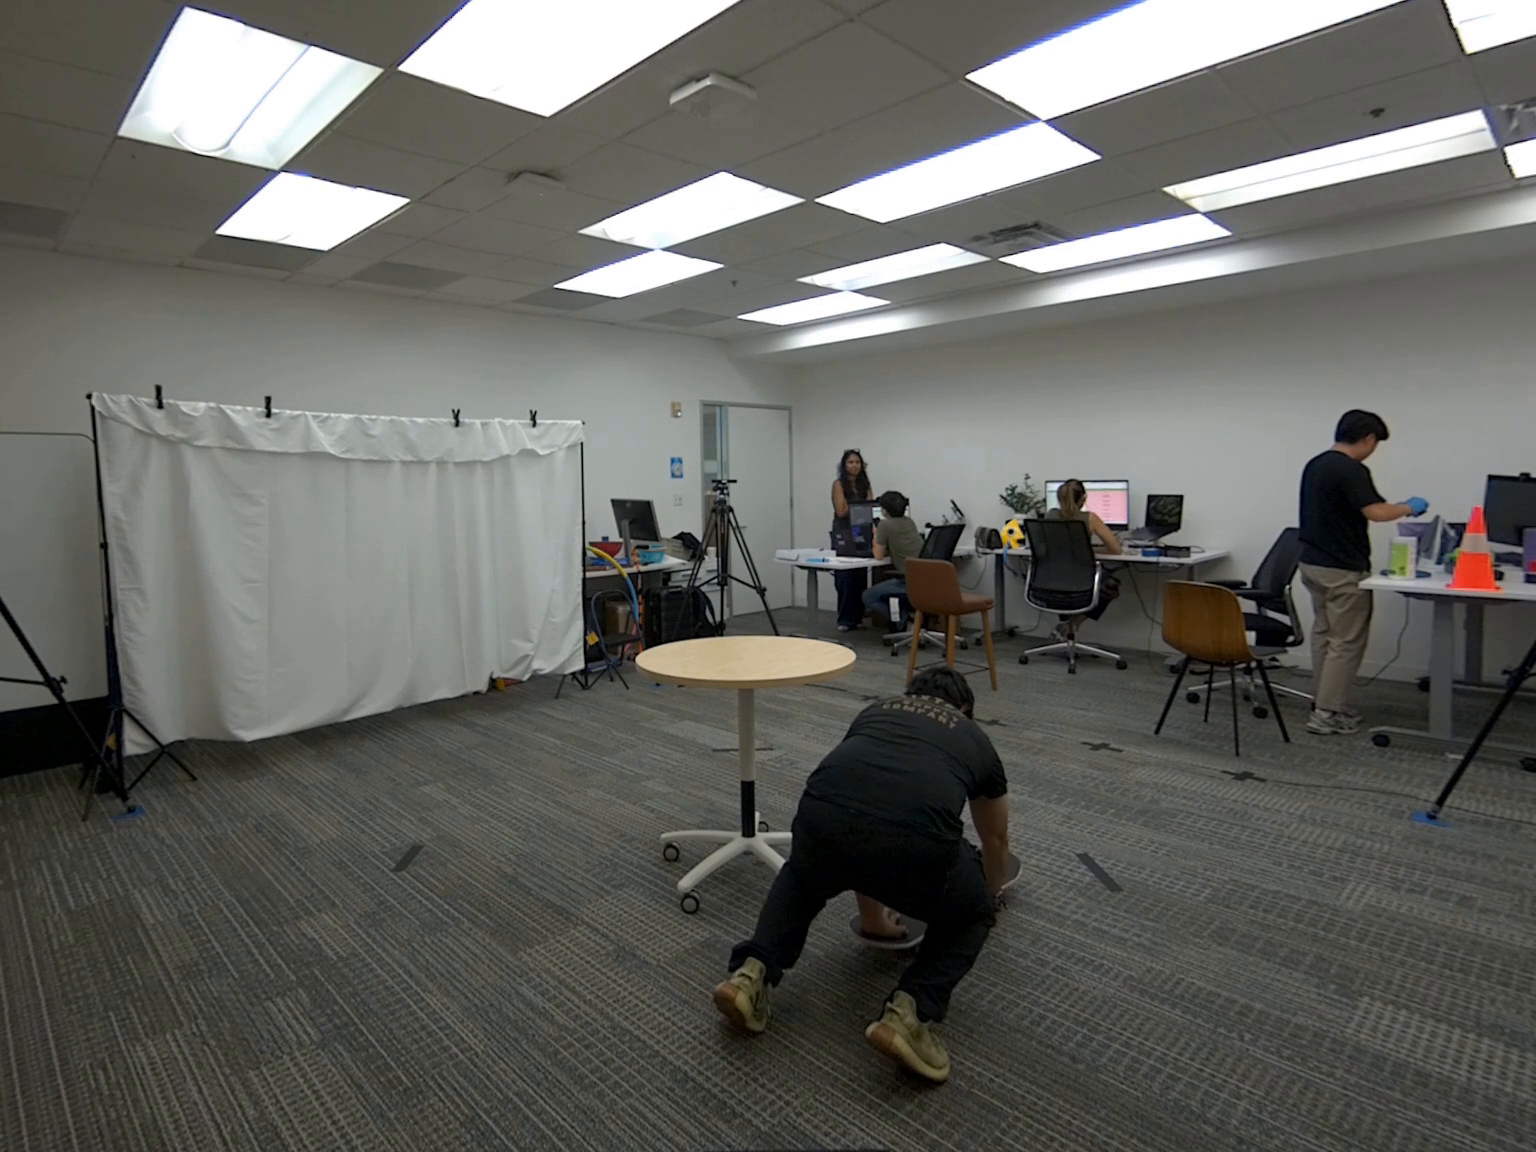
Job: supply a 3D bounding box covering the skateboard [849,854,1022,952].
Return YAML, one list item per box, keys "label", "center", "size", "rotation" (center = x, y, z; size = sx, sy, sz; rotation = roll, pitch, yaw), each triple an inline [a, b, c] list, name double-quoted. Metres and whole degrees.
- label: "skateboard"
  center: [0.547, 1.033, 2.672]
  size: [0.765, 0.109, 0.200]
  rotation: [-7, 11, -42]
